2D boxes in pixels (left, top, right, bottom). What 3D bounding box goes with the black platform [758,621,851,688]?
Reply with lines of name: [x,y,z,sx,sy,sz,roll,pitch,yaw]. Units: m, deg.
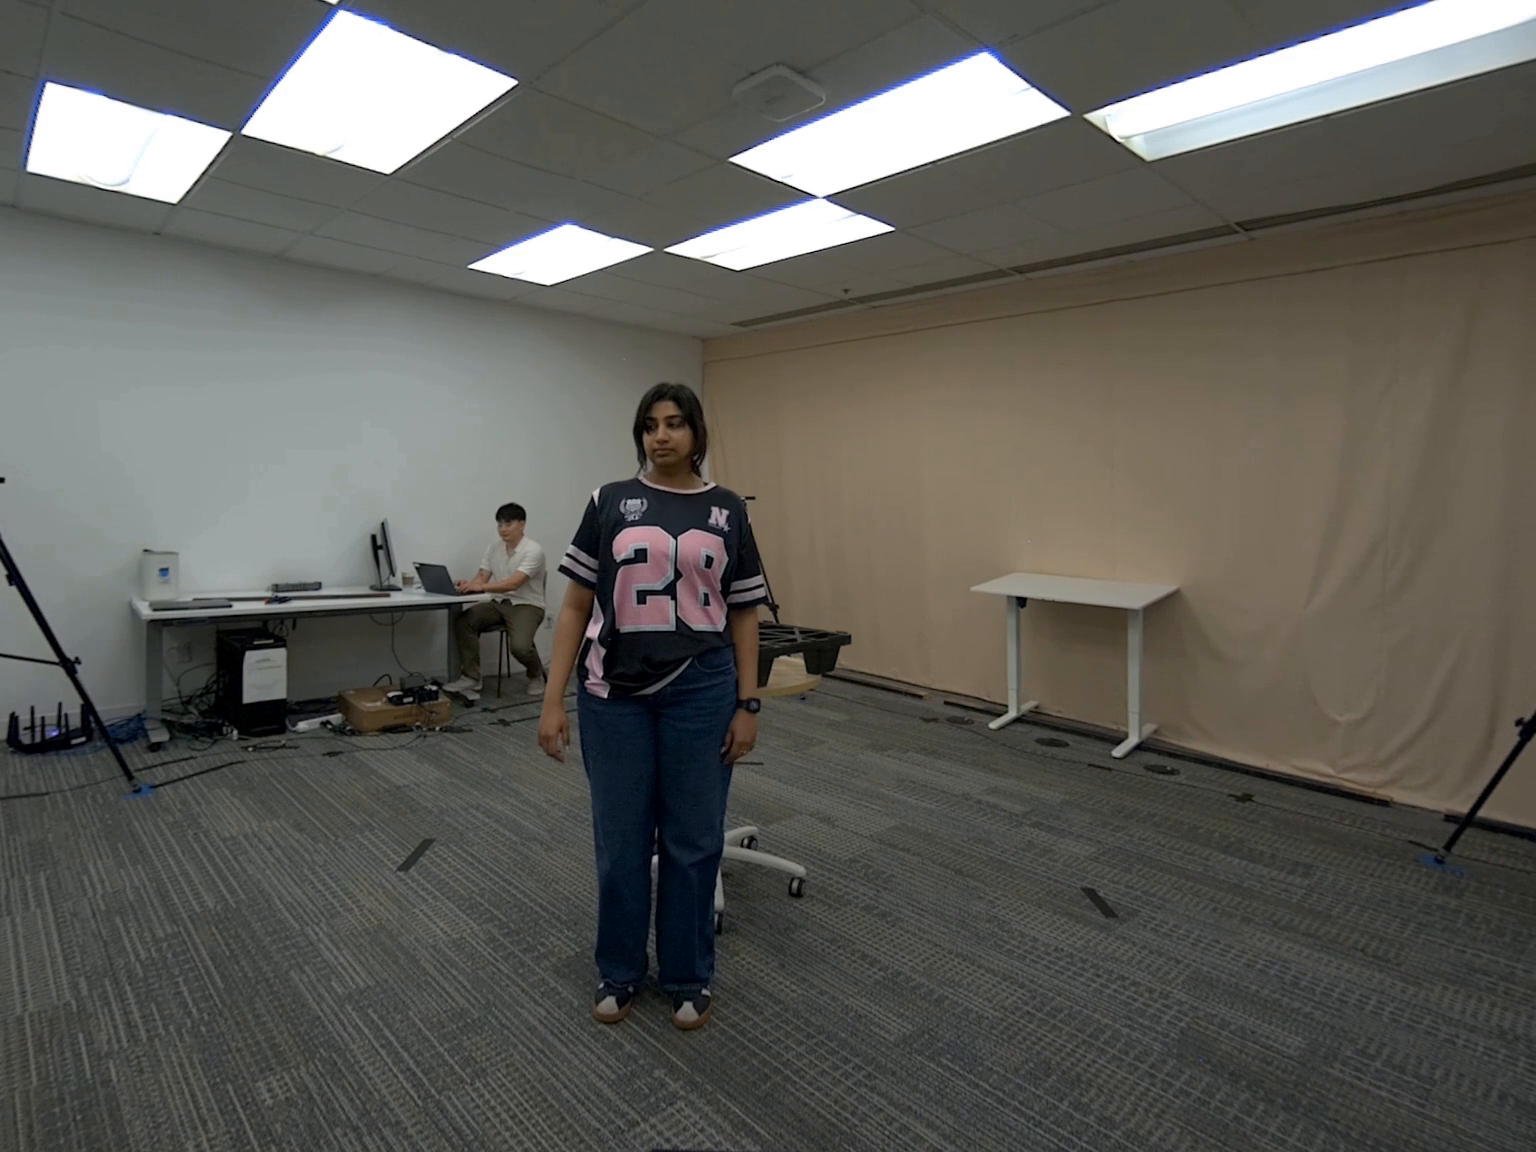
black platform: [-0.203,0.262,3.069,0.826,0.143,0.591,6,6,42]
